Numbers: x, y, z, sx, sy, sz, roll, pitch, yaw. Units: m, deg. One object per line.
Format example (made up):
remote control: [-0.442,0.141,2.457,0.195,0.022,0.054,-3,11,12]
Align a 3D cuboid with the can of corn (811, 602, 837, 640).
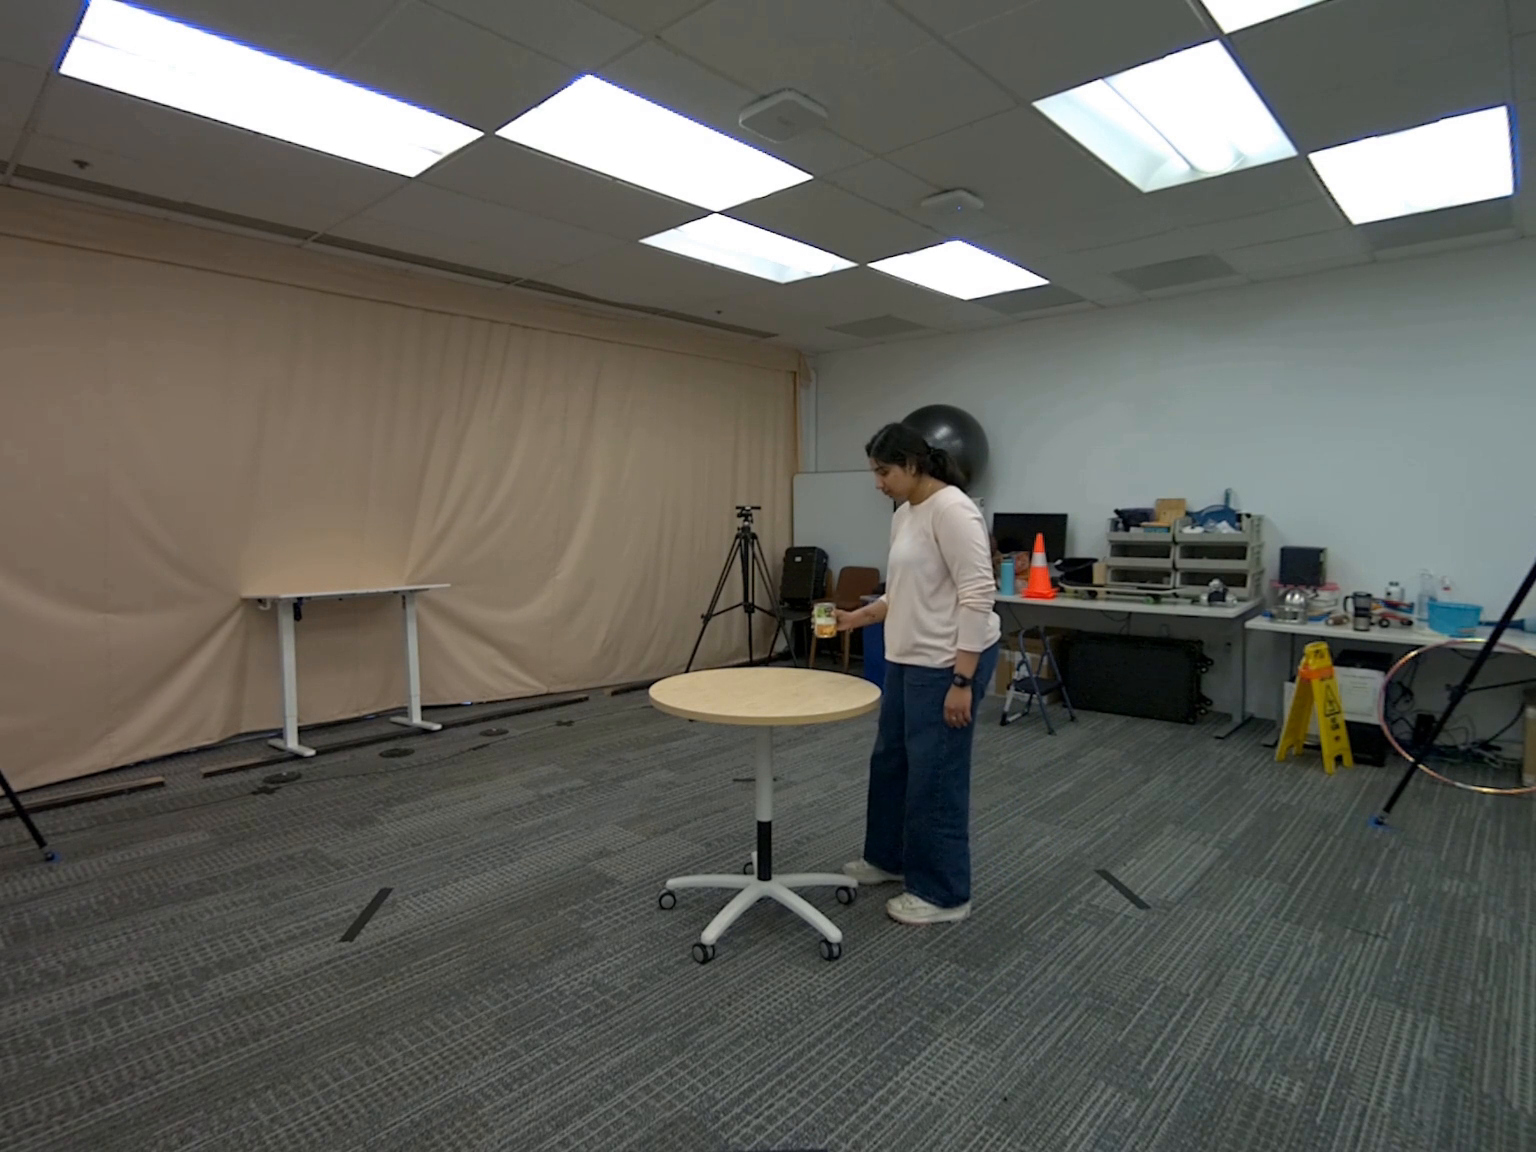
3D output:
can of corn: [0.198,0.158,2.945,0.074,0.111,0.074,1,3,-2]
